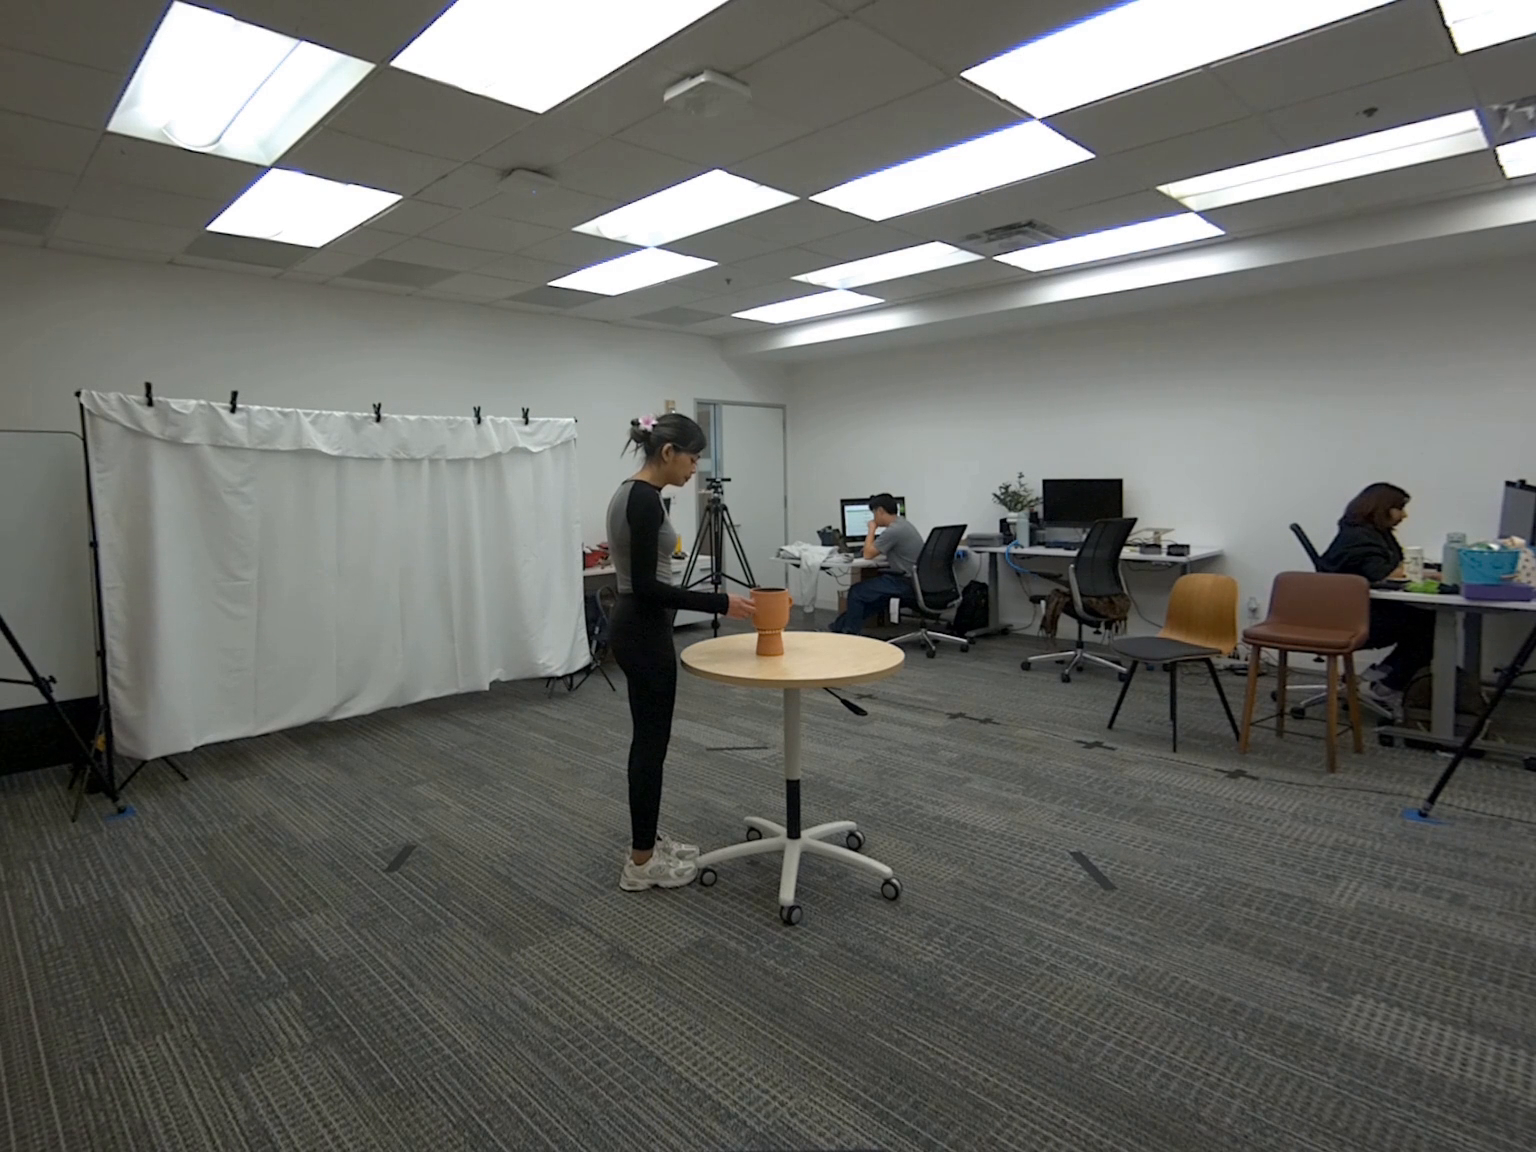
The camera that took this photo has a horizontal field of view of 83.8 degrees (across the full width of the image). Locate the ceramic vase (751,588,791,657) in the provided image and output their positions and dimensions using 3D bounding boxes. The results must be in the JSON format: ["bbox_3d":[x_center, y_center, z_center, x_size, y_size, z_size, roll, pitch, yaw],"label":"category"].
[{"bbox_3d":[0.004,0.156,2.935,0.160,0.219,0.134,0,5,6],"label":"ceramic vase"}]
